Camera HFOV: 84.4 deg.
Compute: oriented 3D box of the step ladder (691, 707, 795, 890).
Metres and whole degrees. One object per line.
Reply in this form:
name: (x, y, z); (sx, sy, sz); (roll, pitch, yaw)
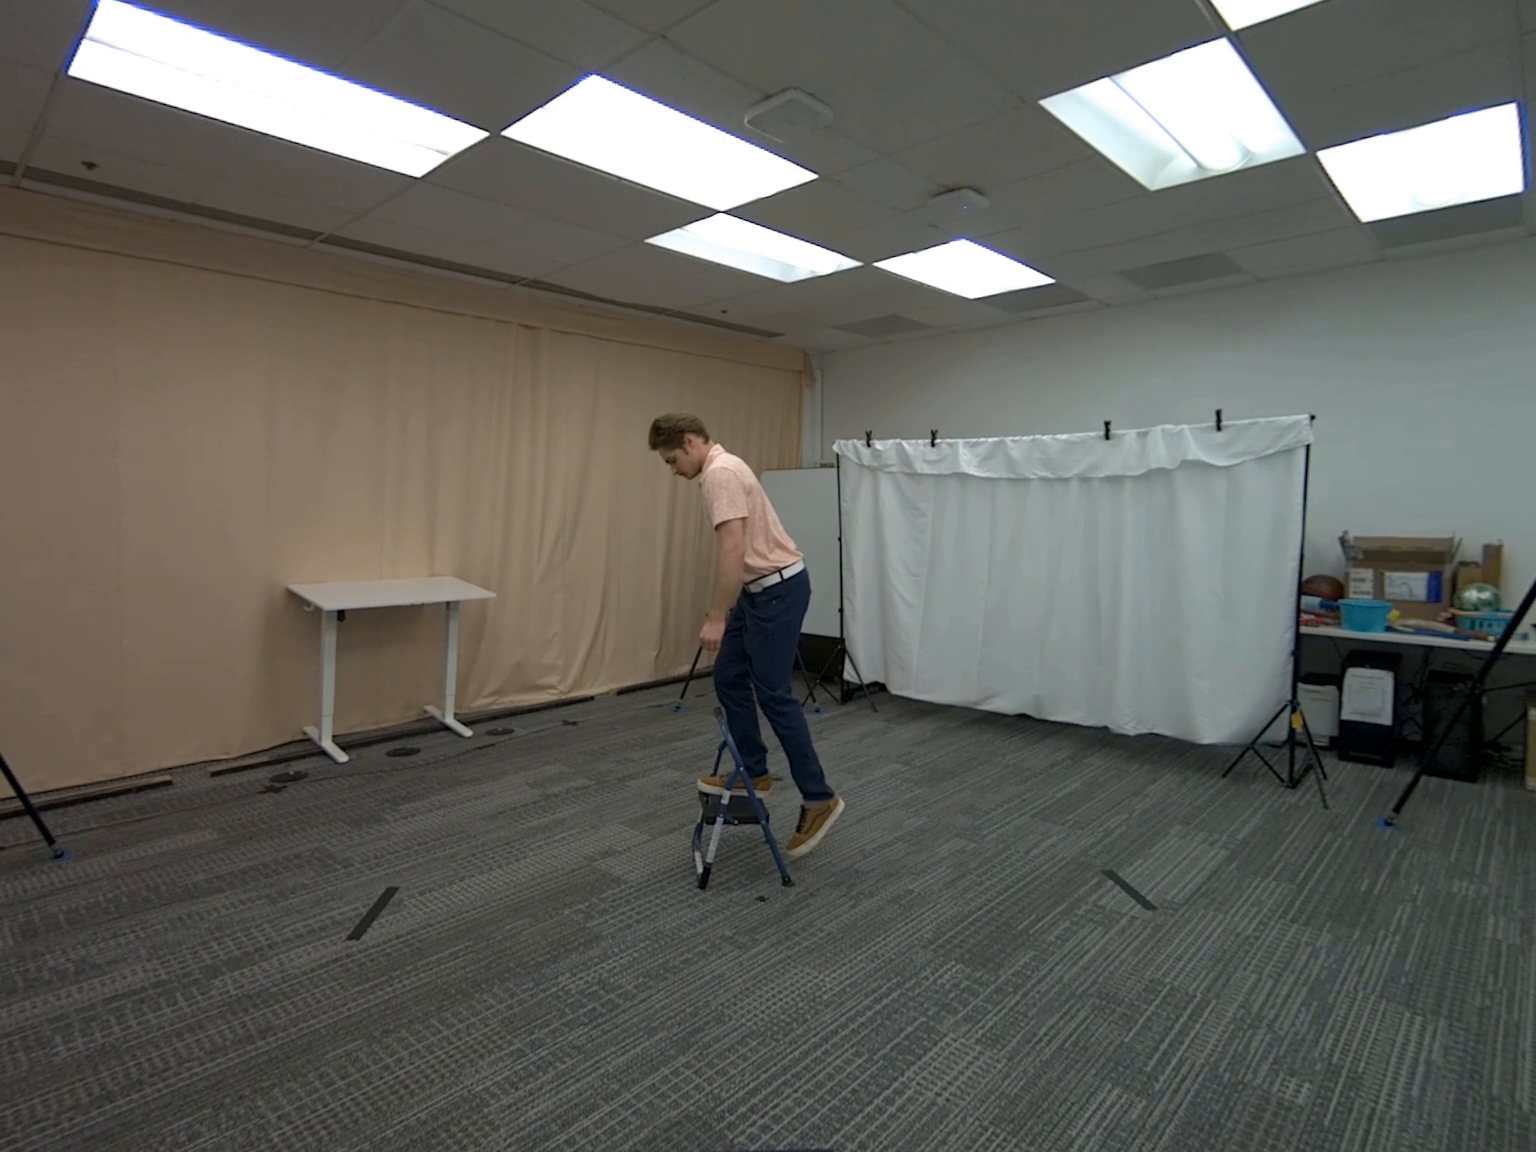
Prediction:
step ladder: (-0.112, 0.824, 3.257); (0.346, 0.604, 0.435); (0, 4, -8)
